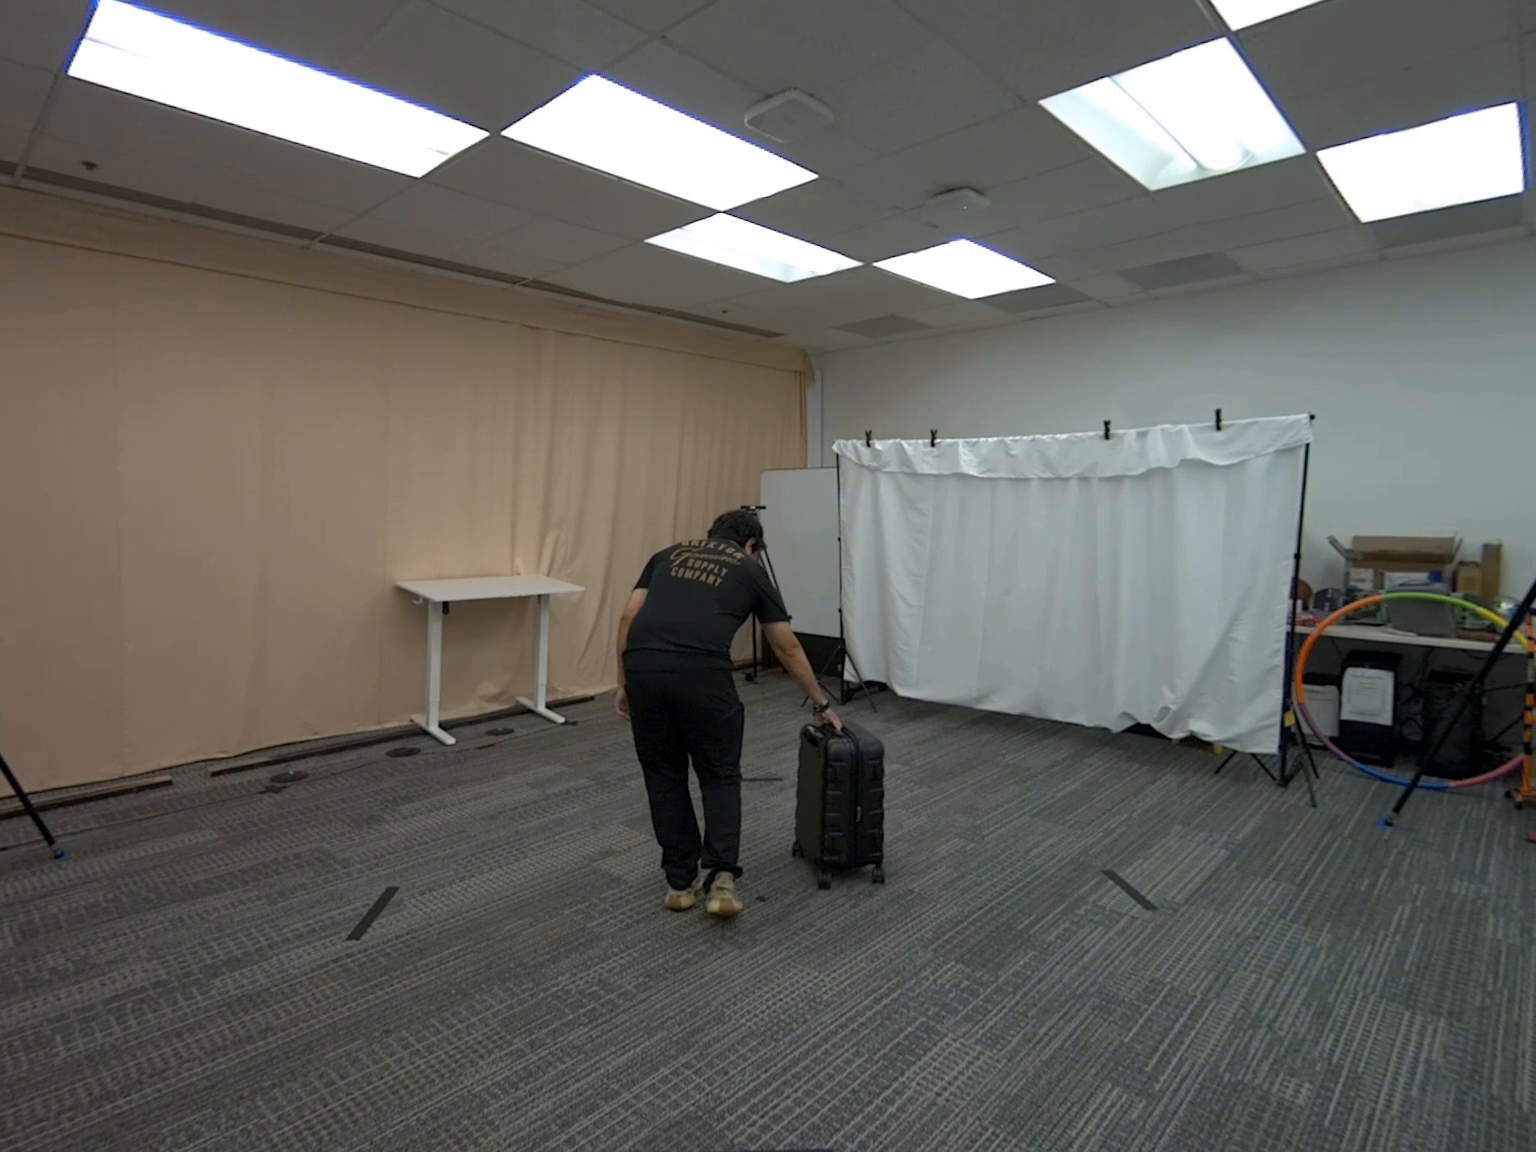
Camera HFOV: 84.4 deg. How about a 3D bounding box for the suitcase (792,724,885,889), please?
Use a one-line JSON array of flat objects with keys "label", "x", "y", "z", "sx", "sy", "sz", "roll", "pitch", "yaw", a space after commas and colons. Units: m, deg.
[{"label": "suitcase", "x": 0.274, "y": 0.846, "z": 3.240, "sx": 0.245, "sy": 0.549, "sz": 0.381, "roll": 1, "pitch": 1, "yaw": -15}]
